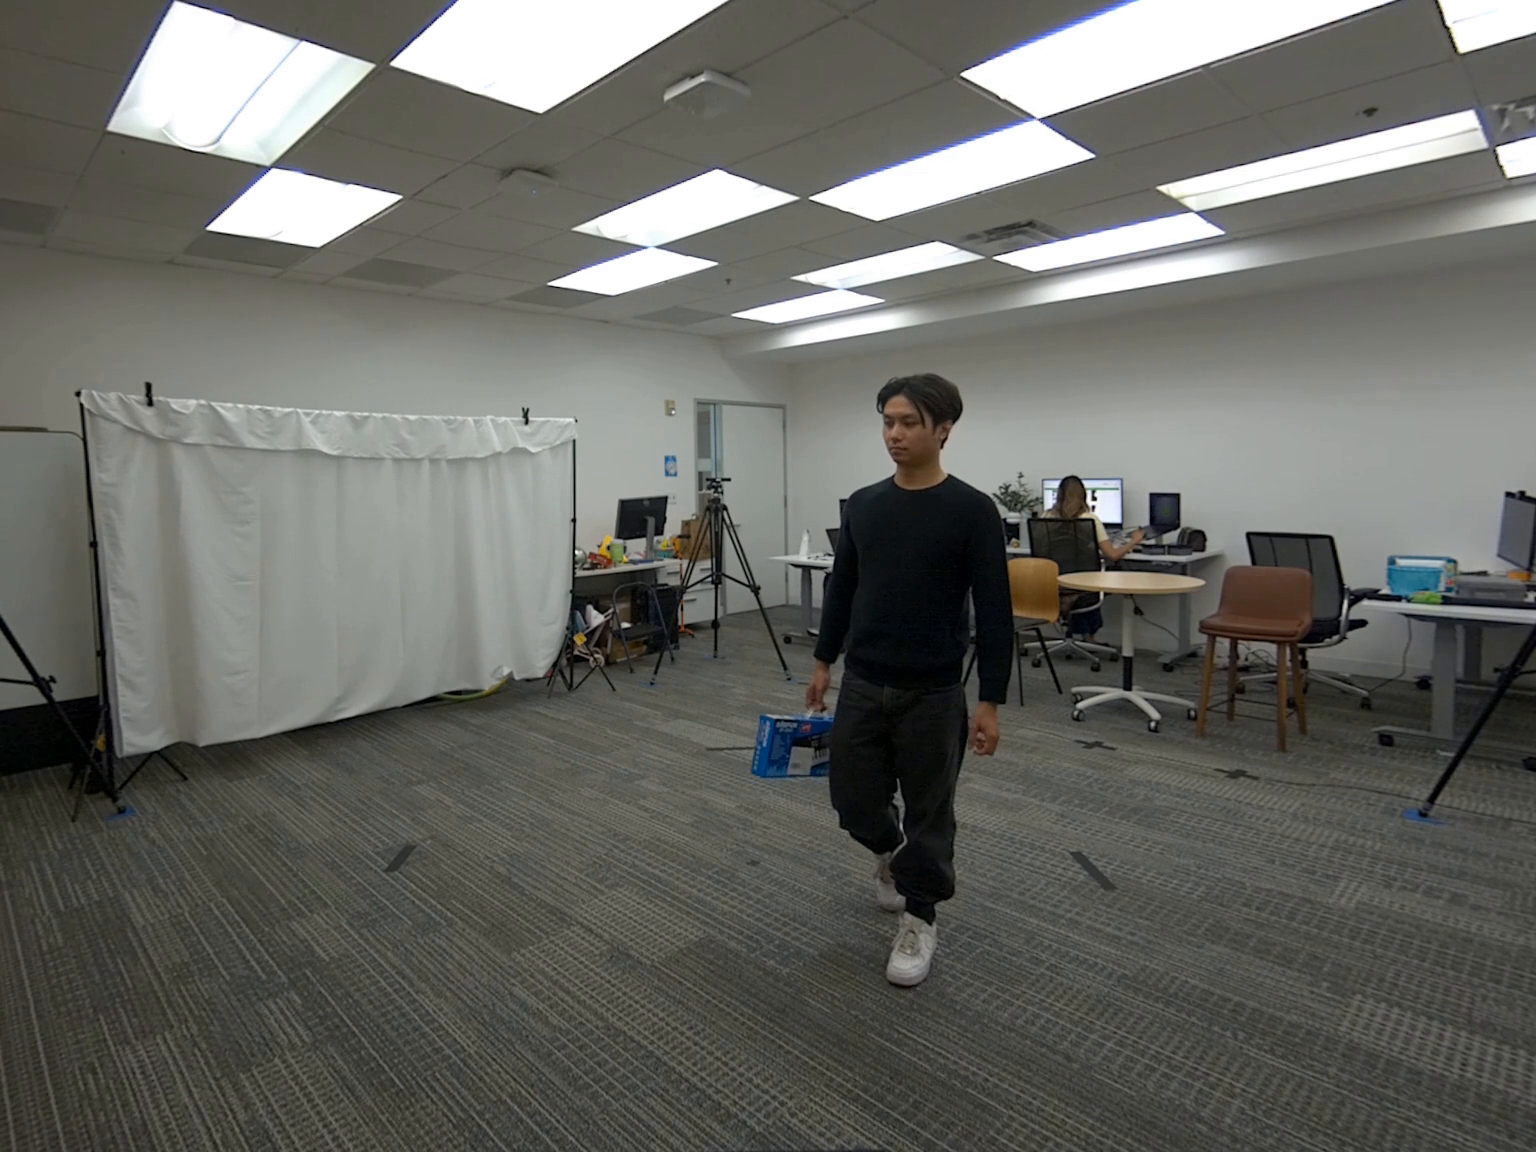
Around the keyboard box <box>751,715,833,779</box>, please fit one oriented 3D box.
[{"bbox_3d":[0.143,0.521,2.610,0.422,0.176,0.061,11,-4,-42],"label":"keyboard box"}]
